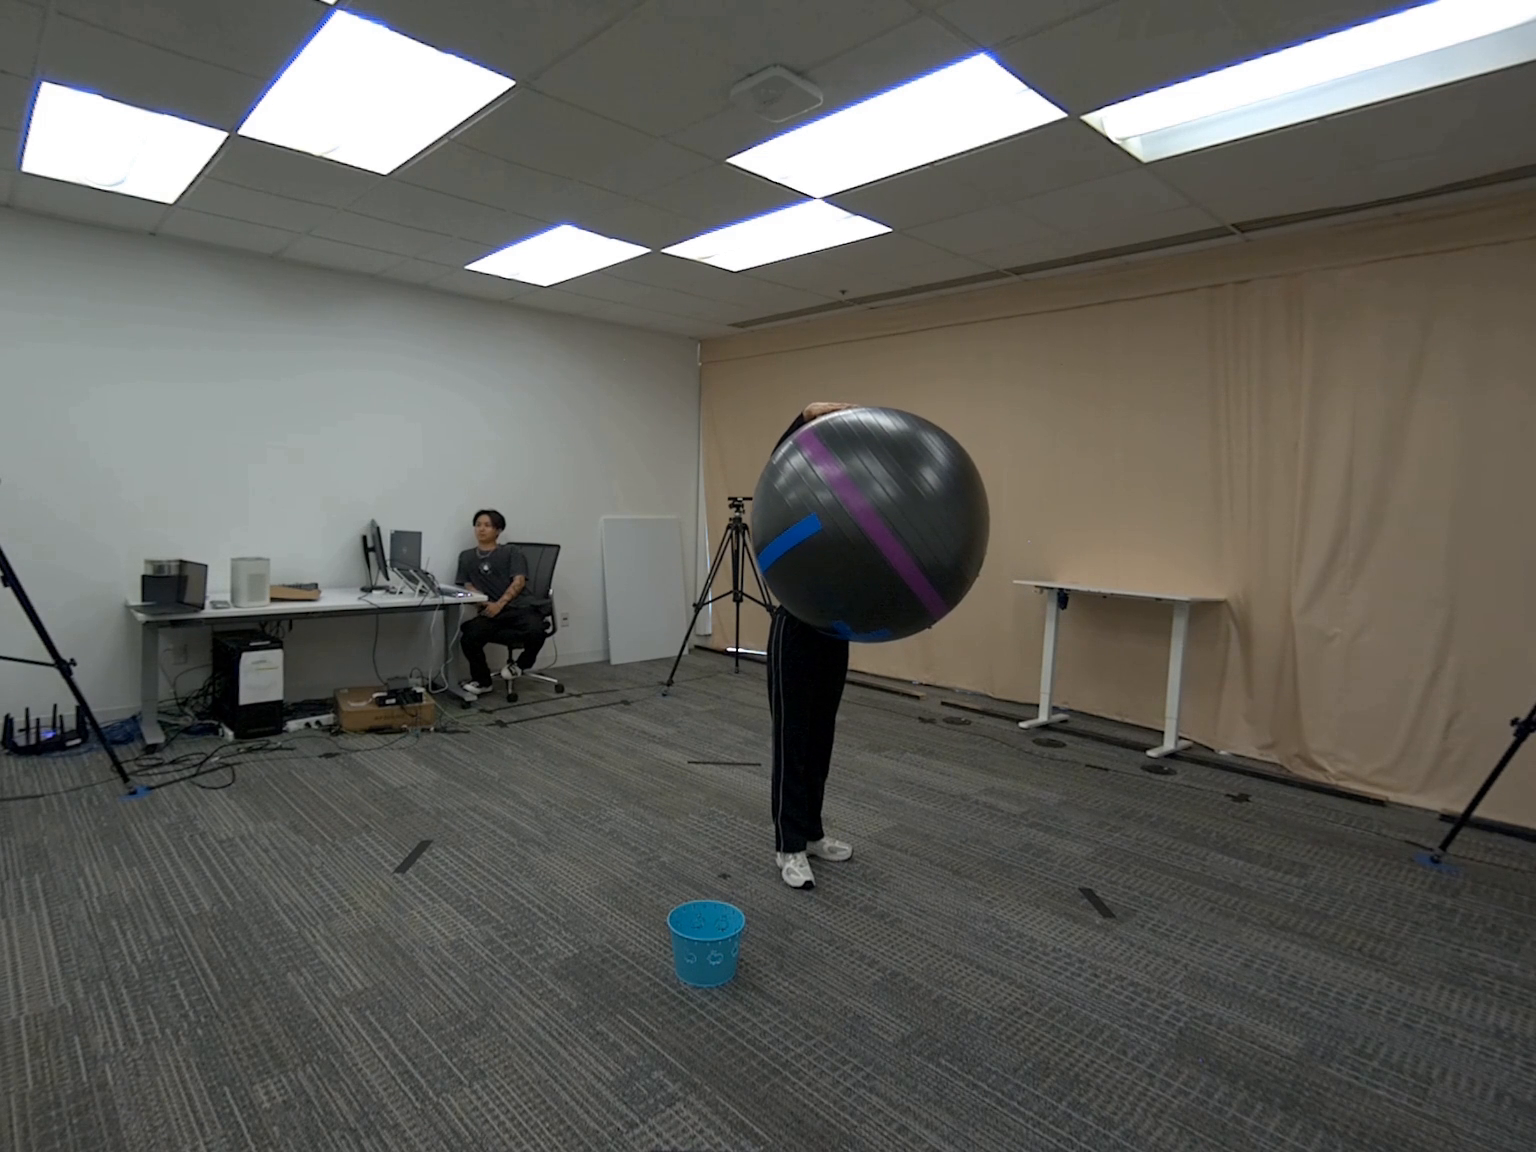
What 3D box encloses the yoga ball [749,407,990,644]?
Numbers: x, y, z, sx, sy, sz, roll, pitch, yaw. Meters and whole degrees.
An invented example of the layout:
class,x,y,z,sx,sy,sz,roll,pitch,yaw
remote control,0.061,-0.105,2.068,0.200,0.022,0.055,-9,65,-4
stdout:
class,x,y,z,sx,sy,sz,roll,pitch,yaw
yoga ball,0.321,-0.162,2.717,0.757,0.756,0.761,1,4,-1
